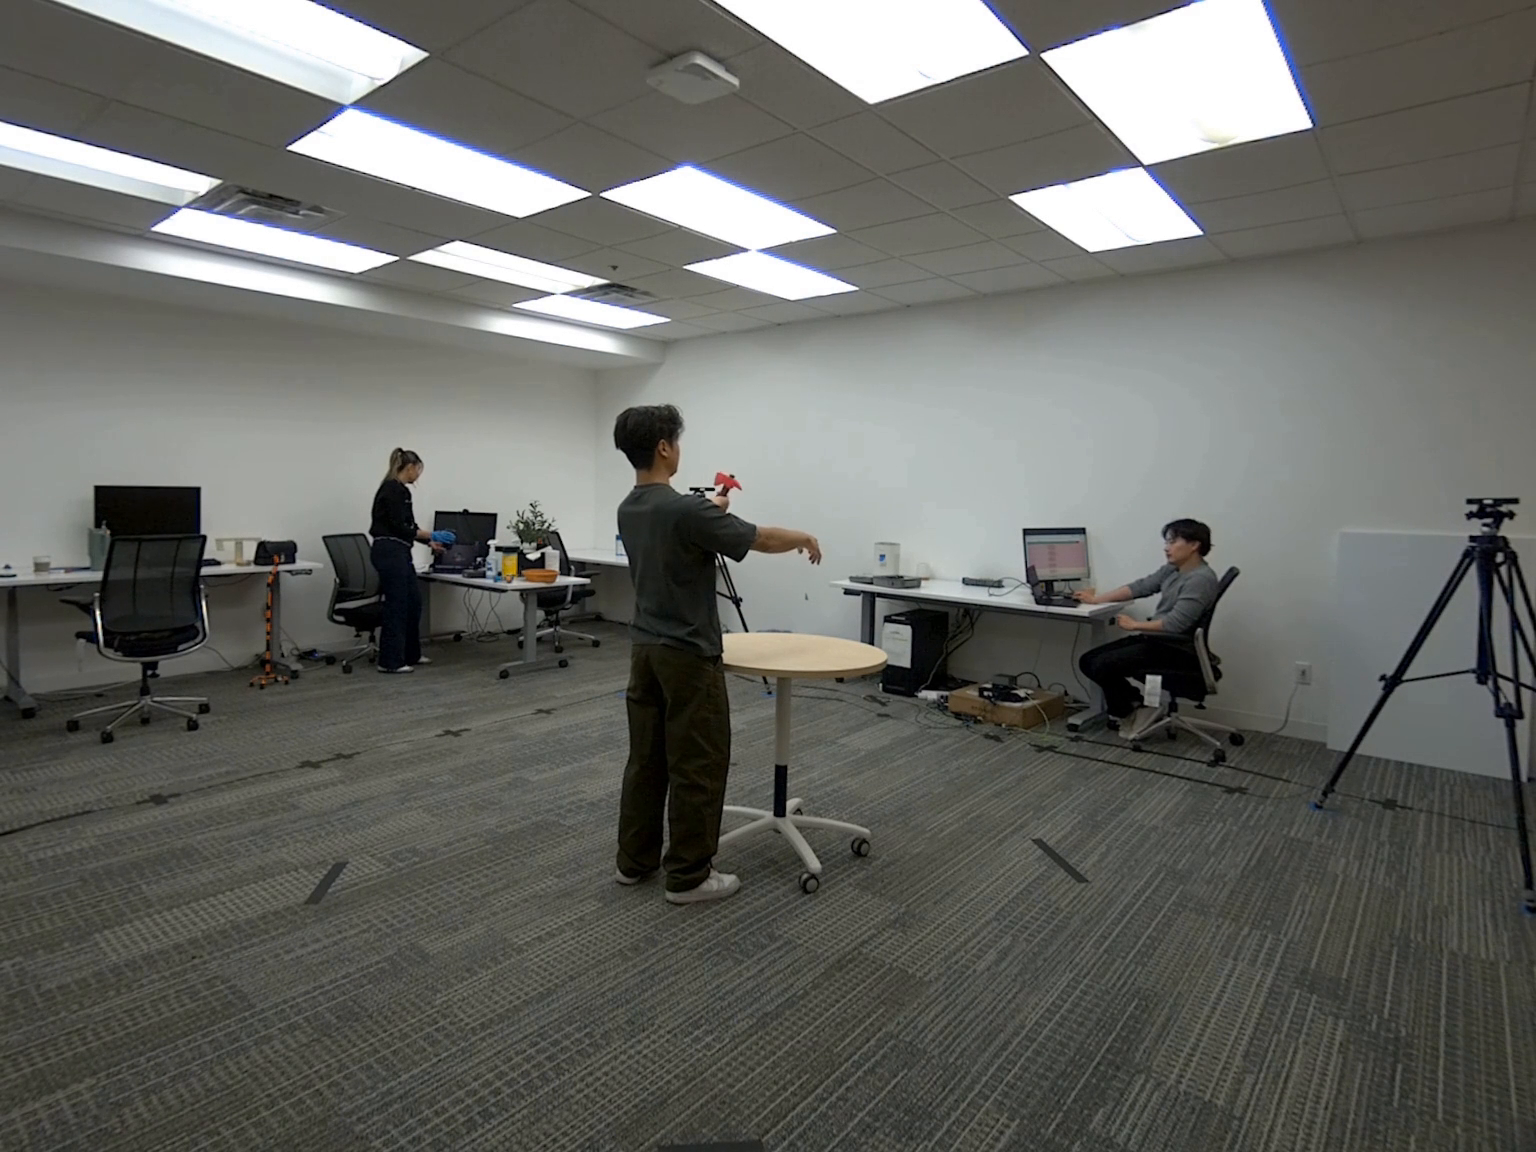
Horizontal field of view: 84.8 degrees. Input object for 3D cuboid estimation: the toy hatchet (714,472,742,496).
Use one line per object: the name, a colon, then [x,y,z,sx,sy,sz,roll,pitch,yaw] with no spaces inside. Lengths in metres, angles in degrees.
toy hatchet: [-0.242,-0.332,3.518,0.271,0.133,0.029,-41,-12,20]
